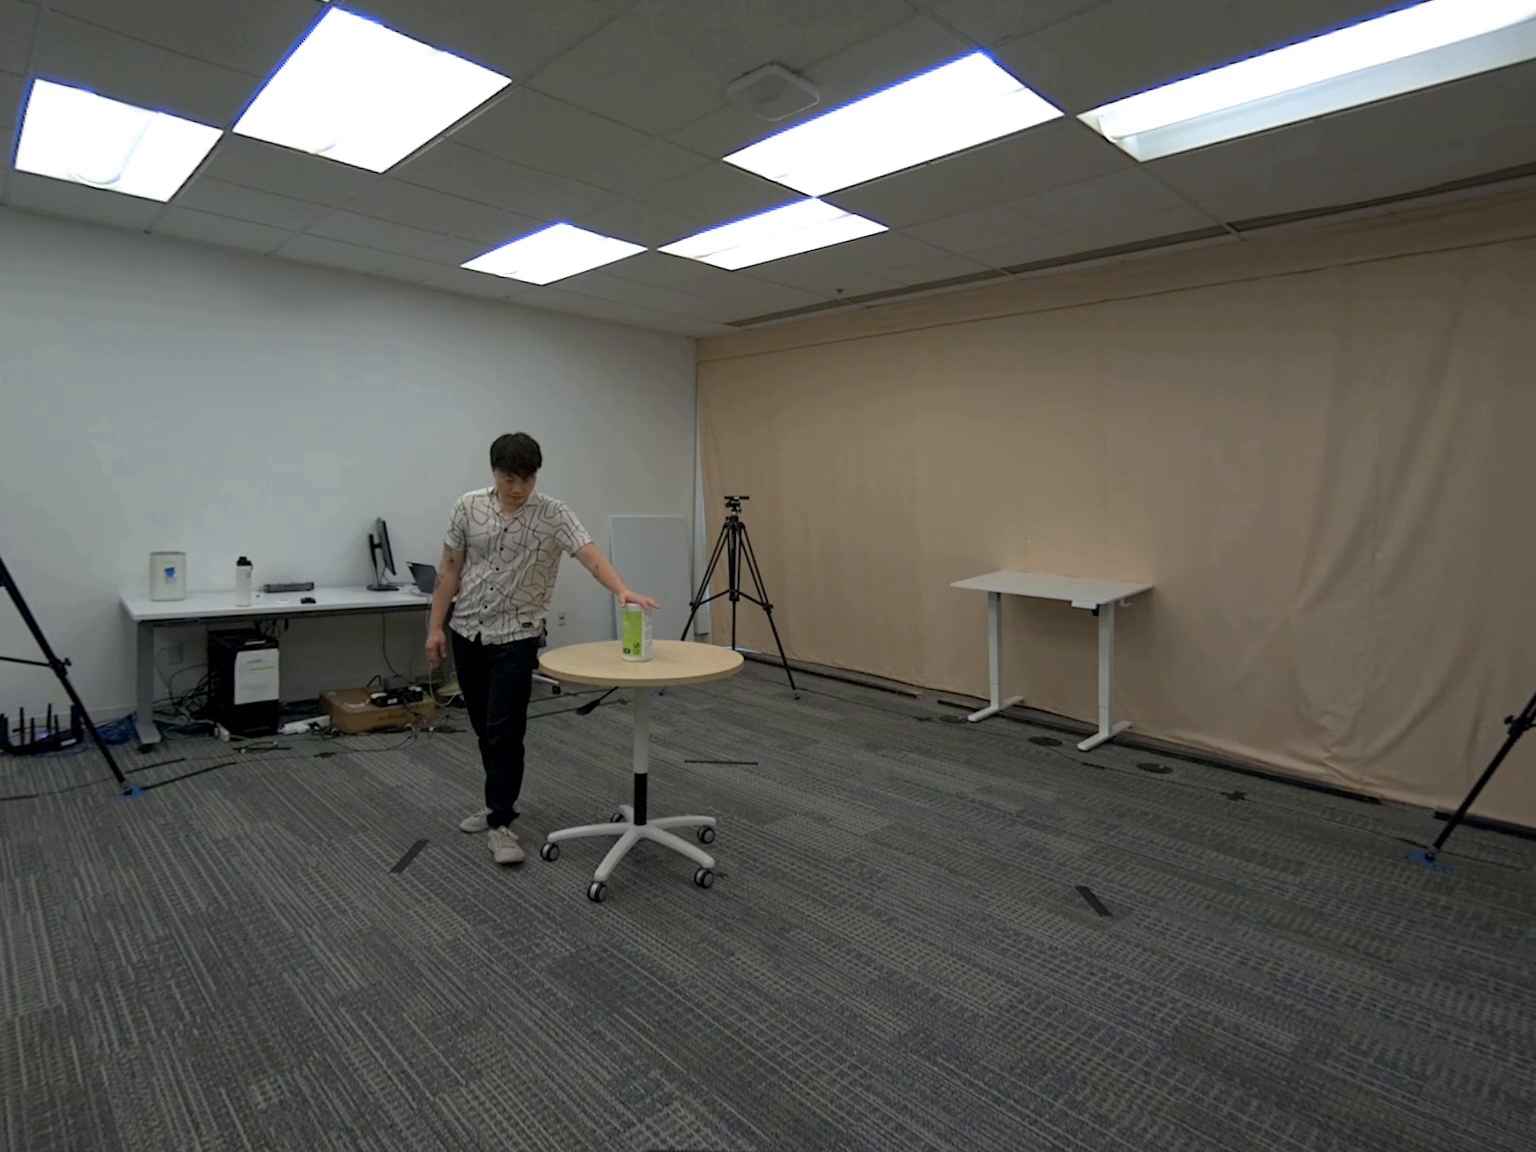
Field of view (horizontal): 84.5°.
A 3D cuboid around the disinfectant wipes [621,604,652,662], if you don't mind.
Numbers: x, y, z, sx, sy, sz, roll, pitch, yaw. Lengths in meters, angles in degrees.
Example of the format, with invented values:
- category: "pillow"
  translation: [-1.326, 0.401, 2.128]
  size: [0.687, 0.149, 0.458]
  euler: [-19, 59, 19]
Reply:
- category: "disinfectant wipes"
  translation: [-0.496, 0.211, 3.134]
  size: [0.118, 0.217, 0.118]
  euler: [0, 3, -1]
